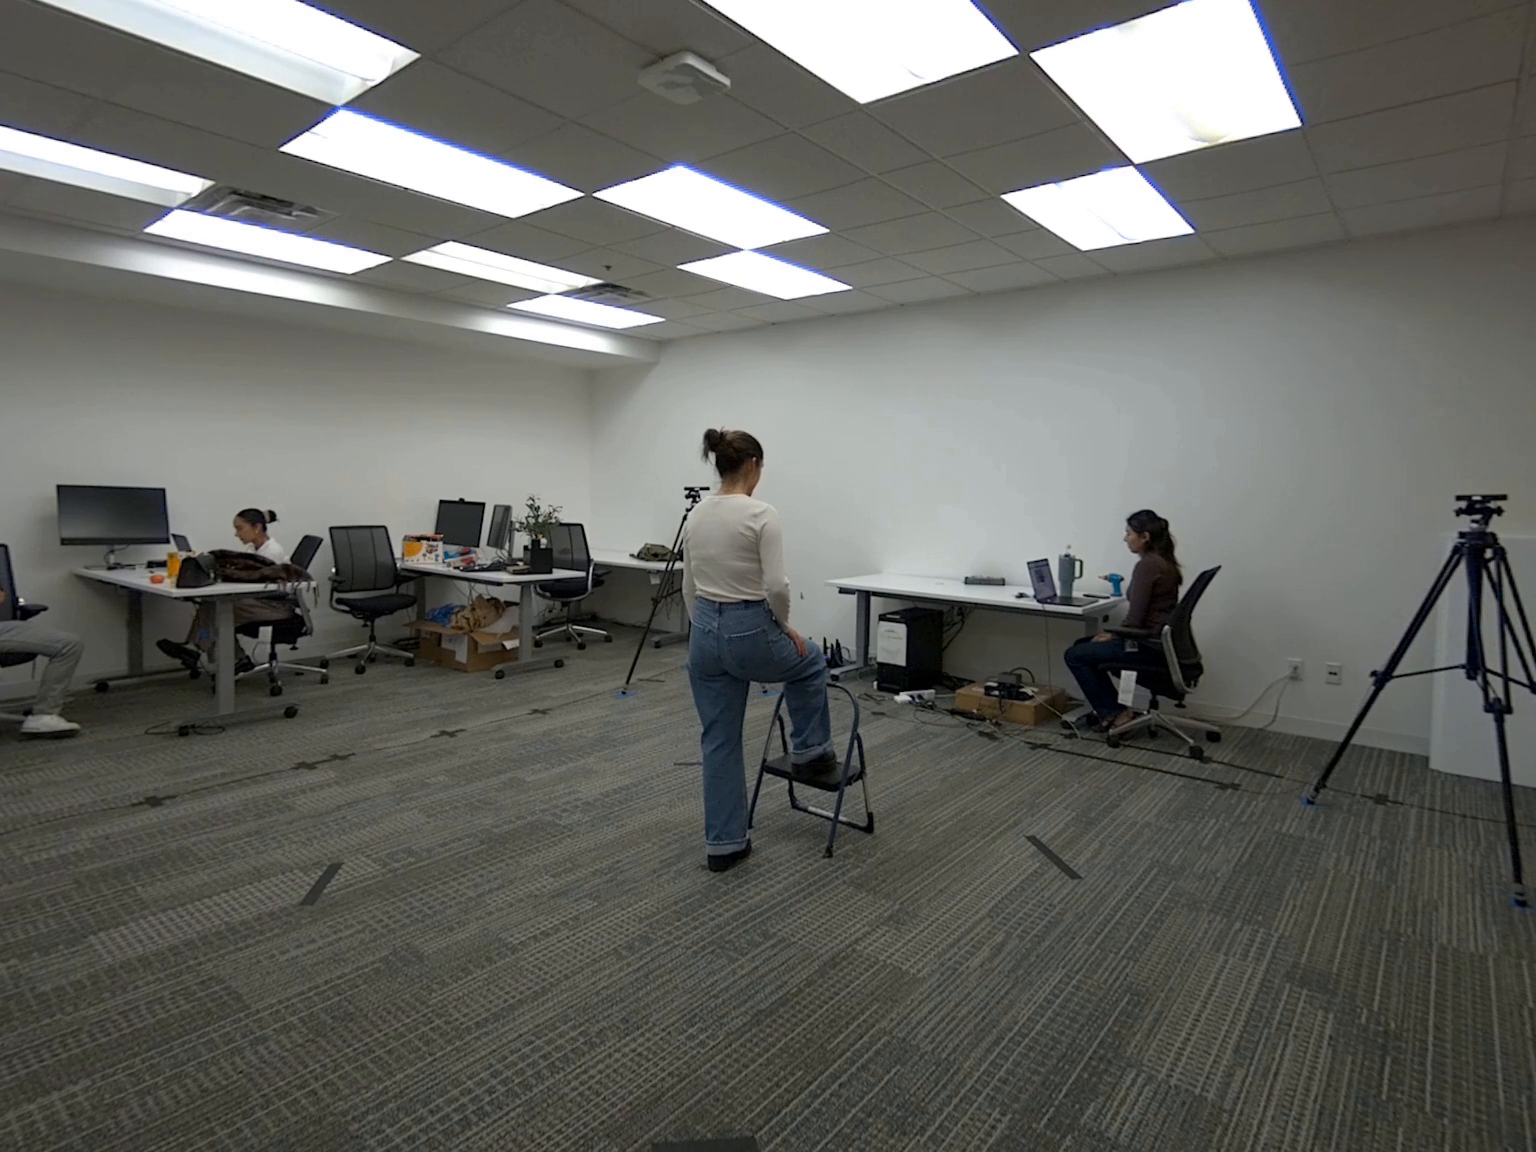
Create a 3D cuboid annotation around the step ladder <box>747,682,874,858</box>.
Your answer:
[{"bbox_3d":[0.168,0.734,3.465,0.445,0.604,0.339,4,4,39],"label":"step ladder"}]
